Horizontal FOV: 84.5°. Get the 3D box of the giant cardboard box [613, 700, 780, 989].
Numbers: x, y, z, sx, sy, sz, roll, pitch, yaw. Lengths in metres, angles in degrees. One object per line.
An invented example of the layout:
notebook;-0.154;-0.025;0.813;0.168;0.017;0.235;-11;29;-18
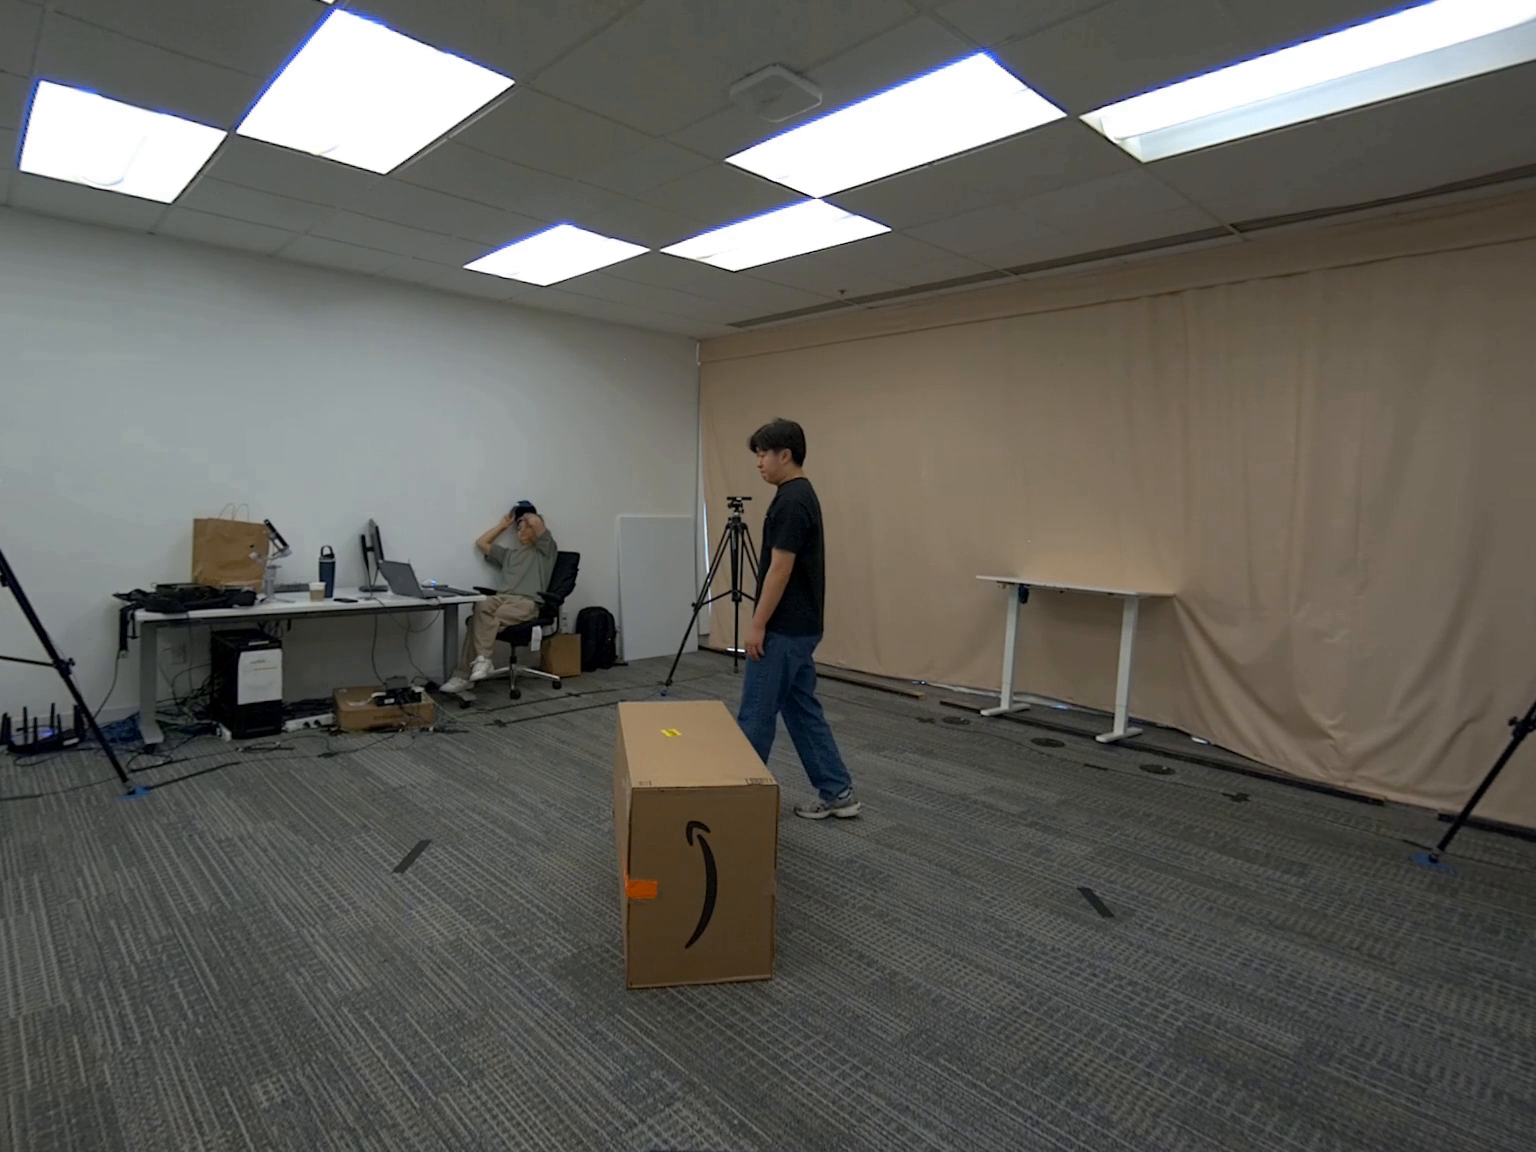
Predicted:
giant cardboard box;-0.297;0.836;2.890;0.443;0.582;1.039;0;4;-12
